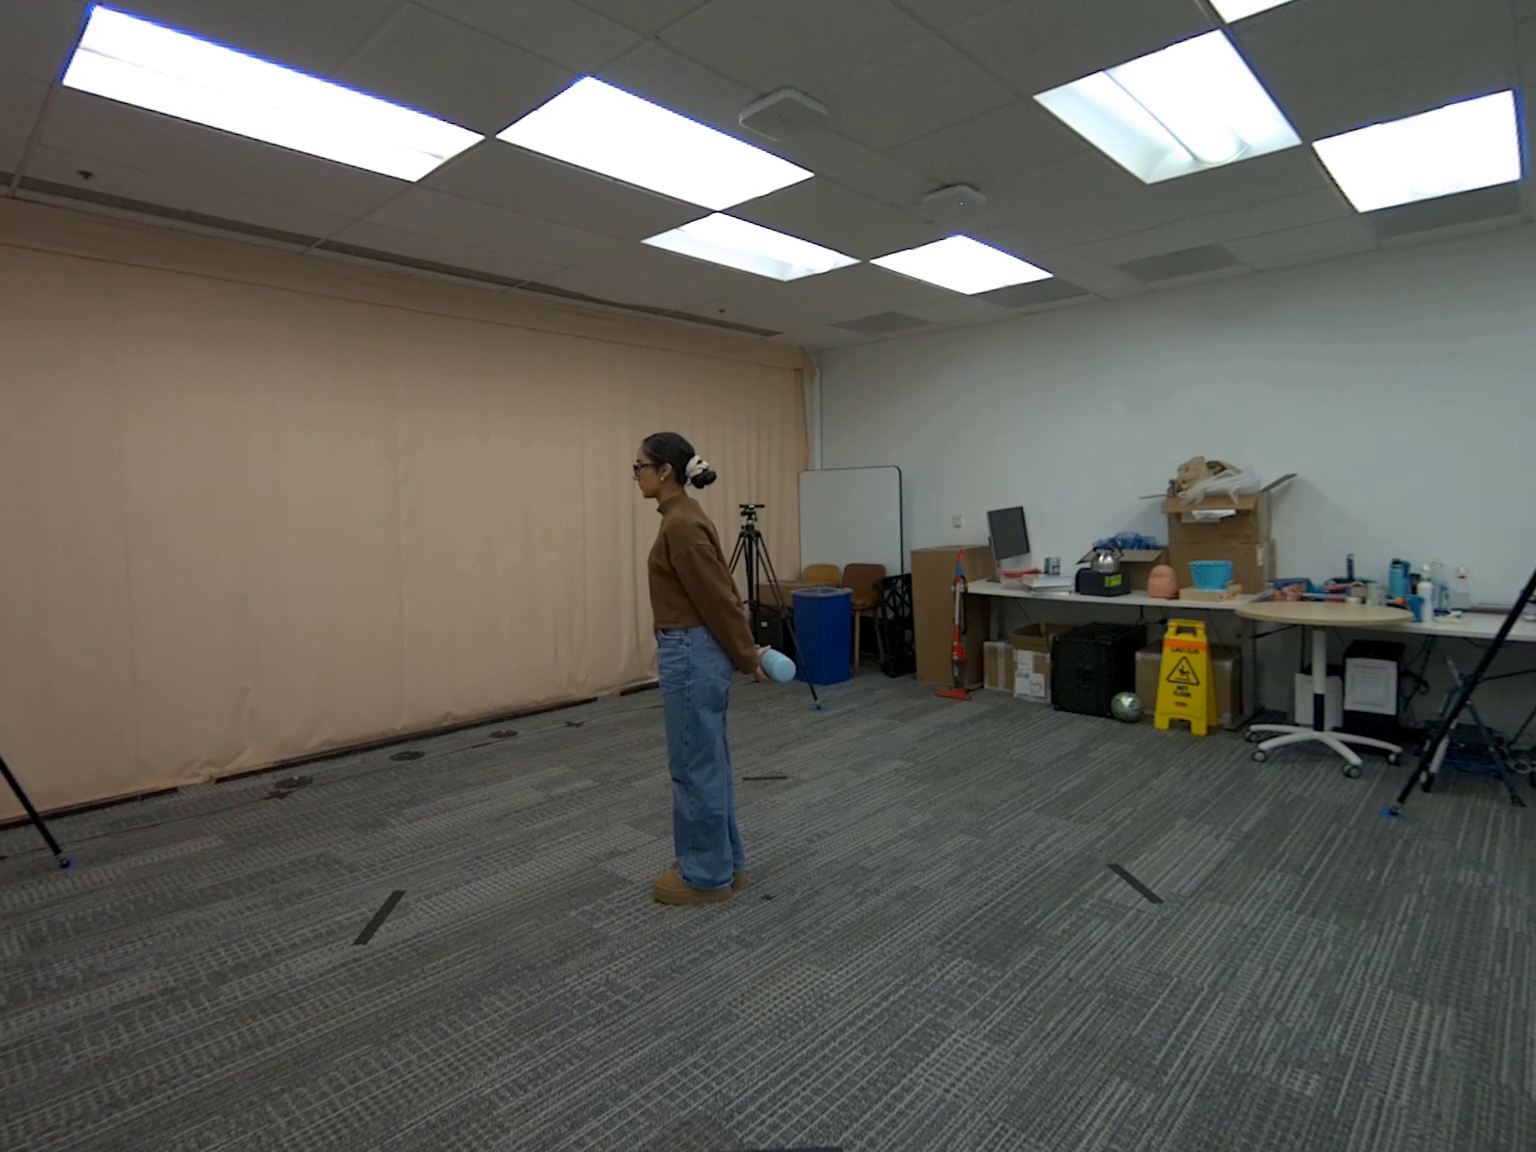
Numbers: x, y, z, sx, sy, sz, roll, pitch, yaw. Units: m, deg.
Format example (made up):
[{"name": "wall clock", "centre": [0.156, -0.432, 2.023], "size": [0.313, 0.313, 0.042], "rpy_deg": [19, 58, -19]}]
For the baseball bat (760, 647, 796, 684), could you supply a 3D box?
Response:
[{"name": "baseball bat", "centre": [-0.005, 0.304, 3.086], "size": [0.088, 0.089, 0.550], "rpy_deg": [-2, 5, -11]}]
